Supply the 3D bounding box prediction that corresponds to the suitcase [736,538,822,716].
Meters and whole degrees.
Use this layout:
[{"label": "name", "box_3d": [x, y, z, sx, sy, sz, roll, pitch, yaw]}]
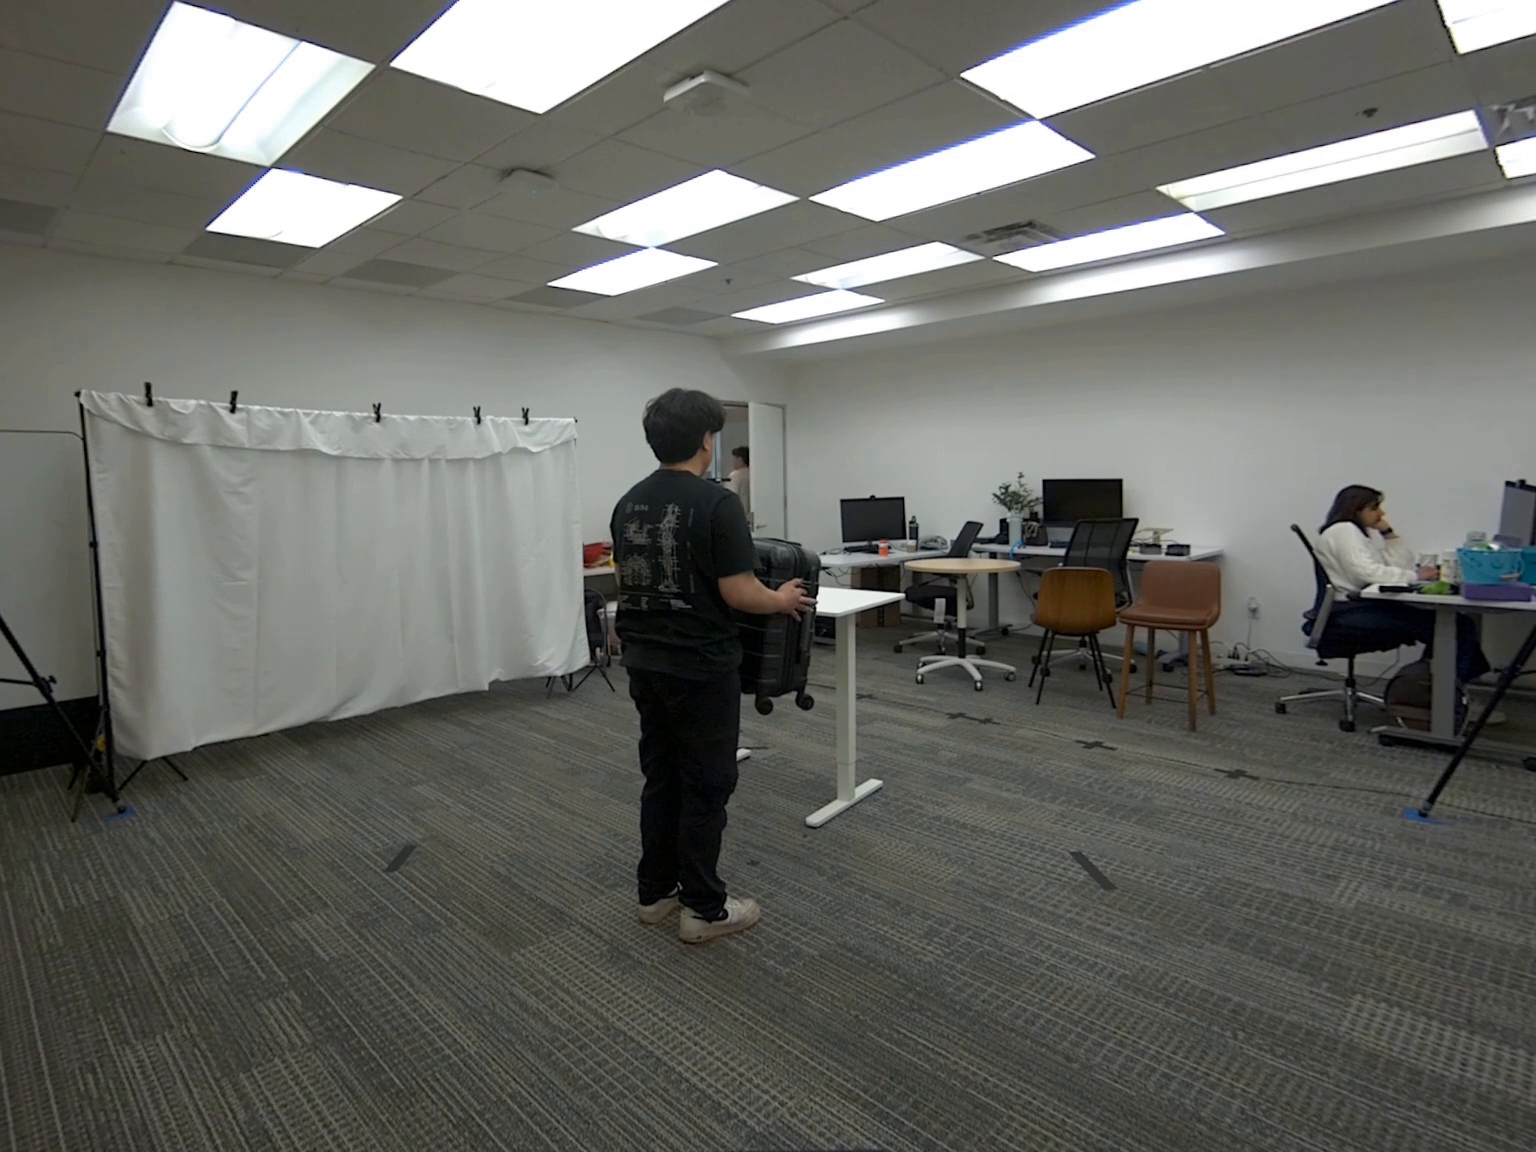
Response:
[{"label": "suitcase", "box_3d": [-0.031, 0.146, 2.902, 0.388, 0.549, 0.240, 8, 2, 42]}]
